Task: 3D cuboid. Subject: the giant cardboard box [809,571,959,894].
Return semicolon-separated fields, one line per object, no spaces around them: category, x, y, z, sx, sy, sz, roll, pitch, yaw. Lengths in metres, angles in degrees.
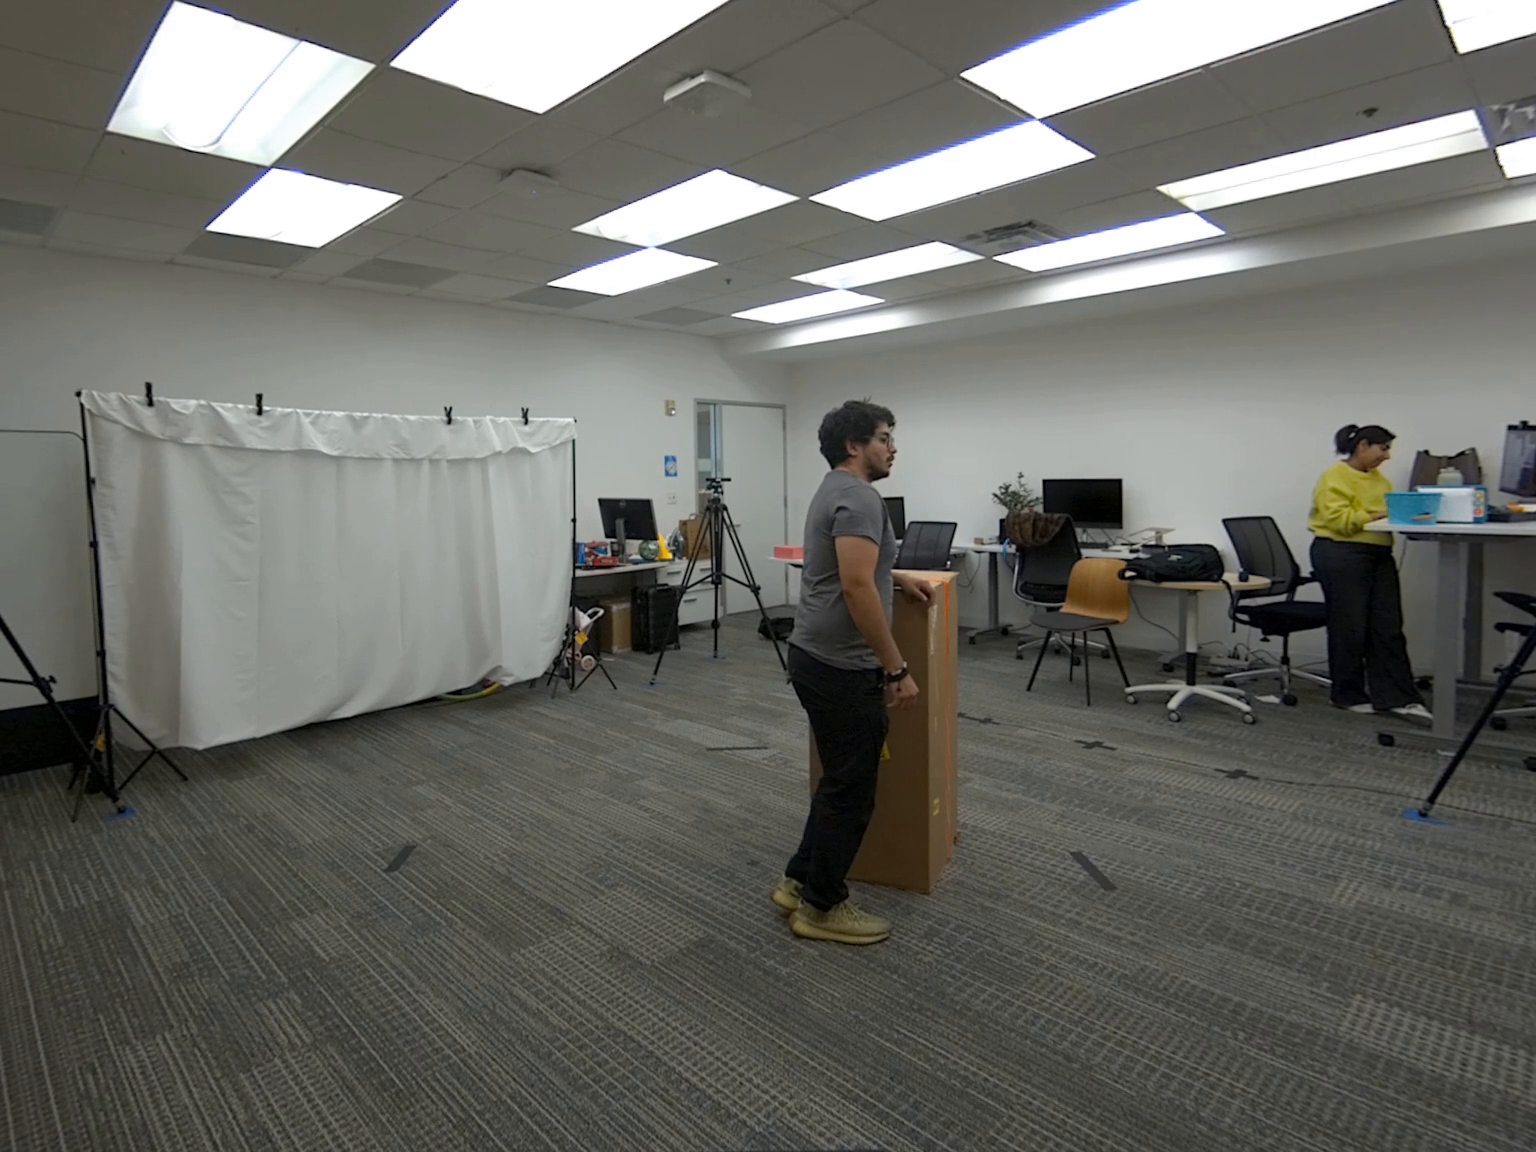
giant cardboard box;0.453;0.518;3.167;0.436;1.023;0.567;1;4;24
